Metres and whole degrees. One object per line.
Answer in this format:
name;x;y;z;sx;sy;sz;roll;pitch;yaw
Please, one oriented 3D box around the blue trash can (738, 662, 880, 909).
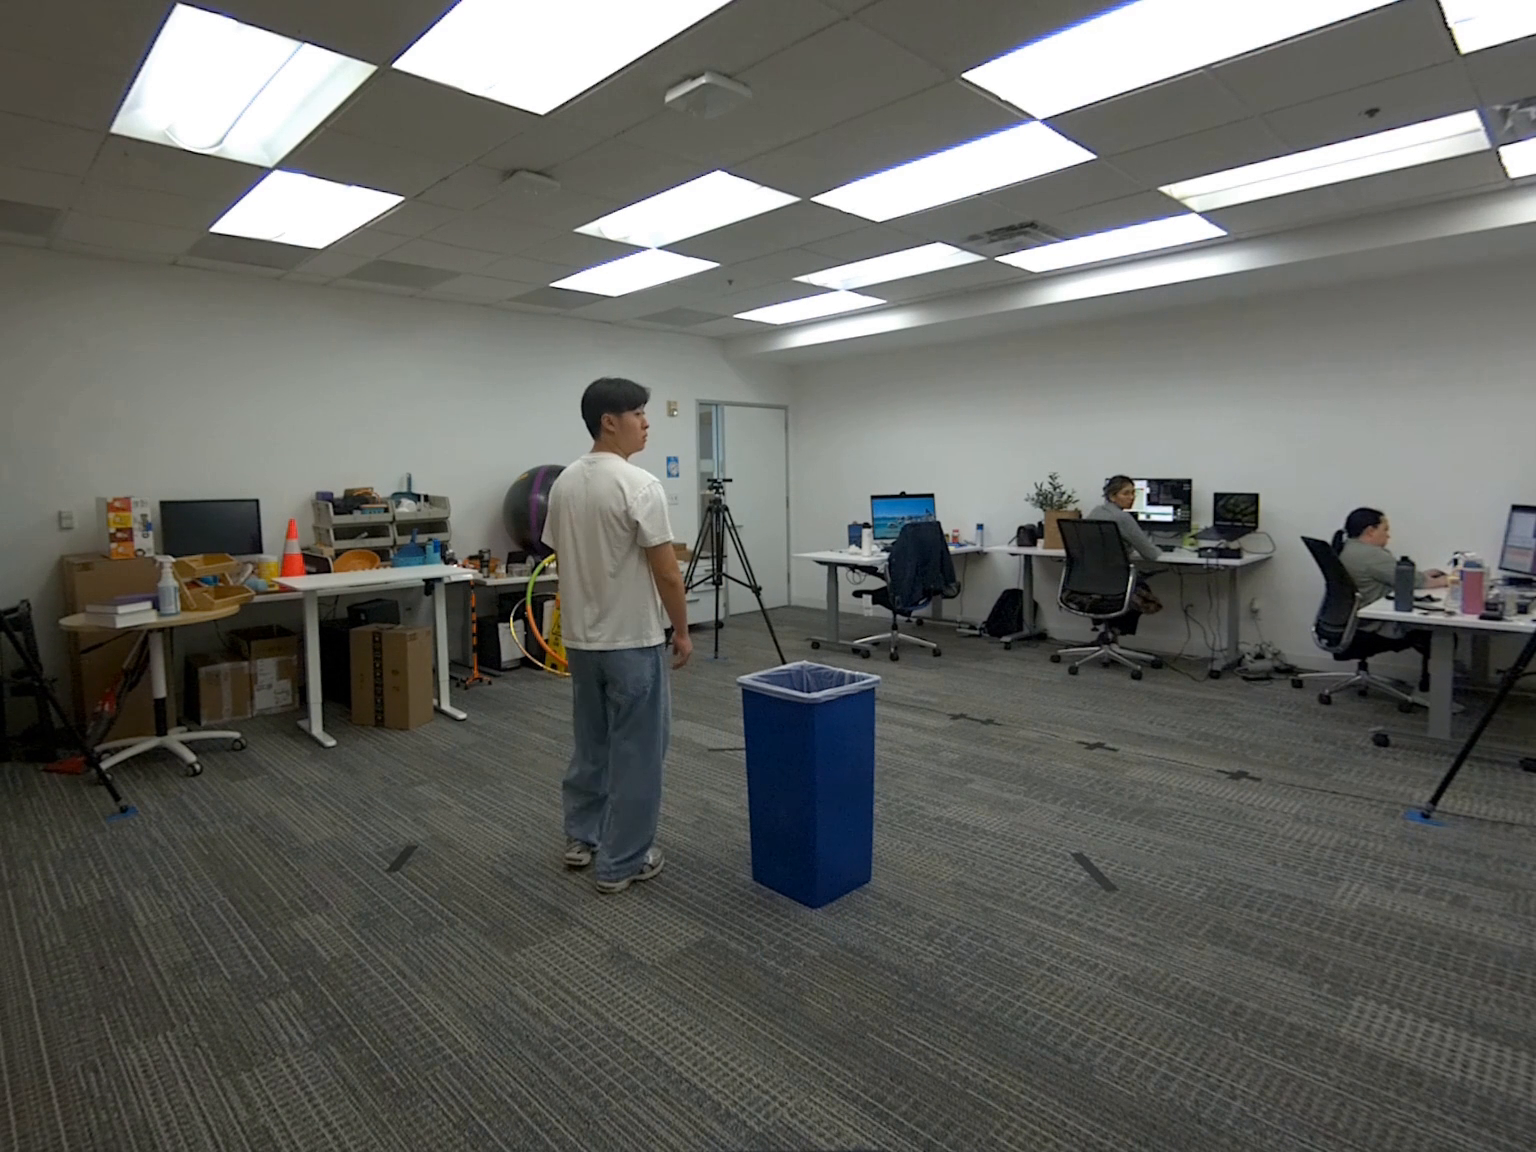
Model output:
blue trash can;0.144;0.699;2.941;0.364;0.711;0.389;-5;5;-44
